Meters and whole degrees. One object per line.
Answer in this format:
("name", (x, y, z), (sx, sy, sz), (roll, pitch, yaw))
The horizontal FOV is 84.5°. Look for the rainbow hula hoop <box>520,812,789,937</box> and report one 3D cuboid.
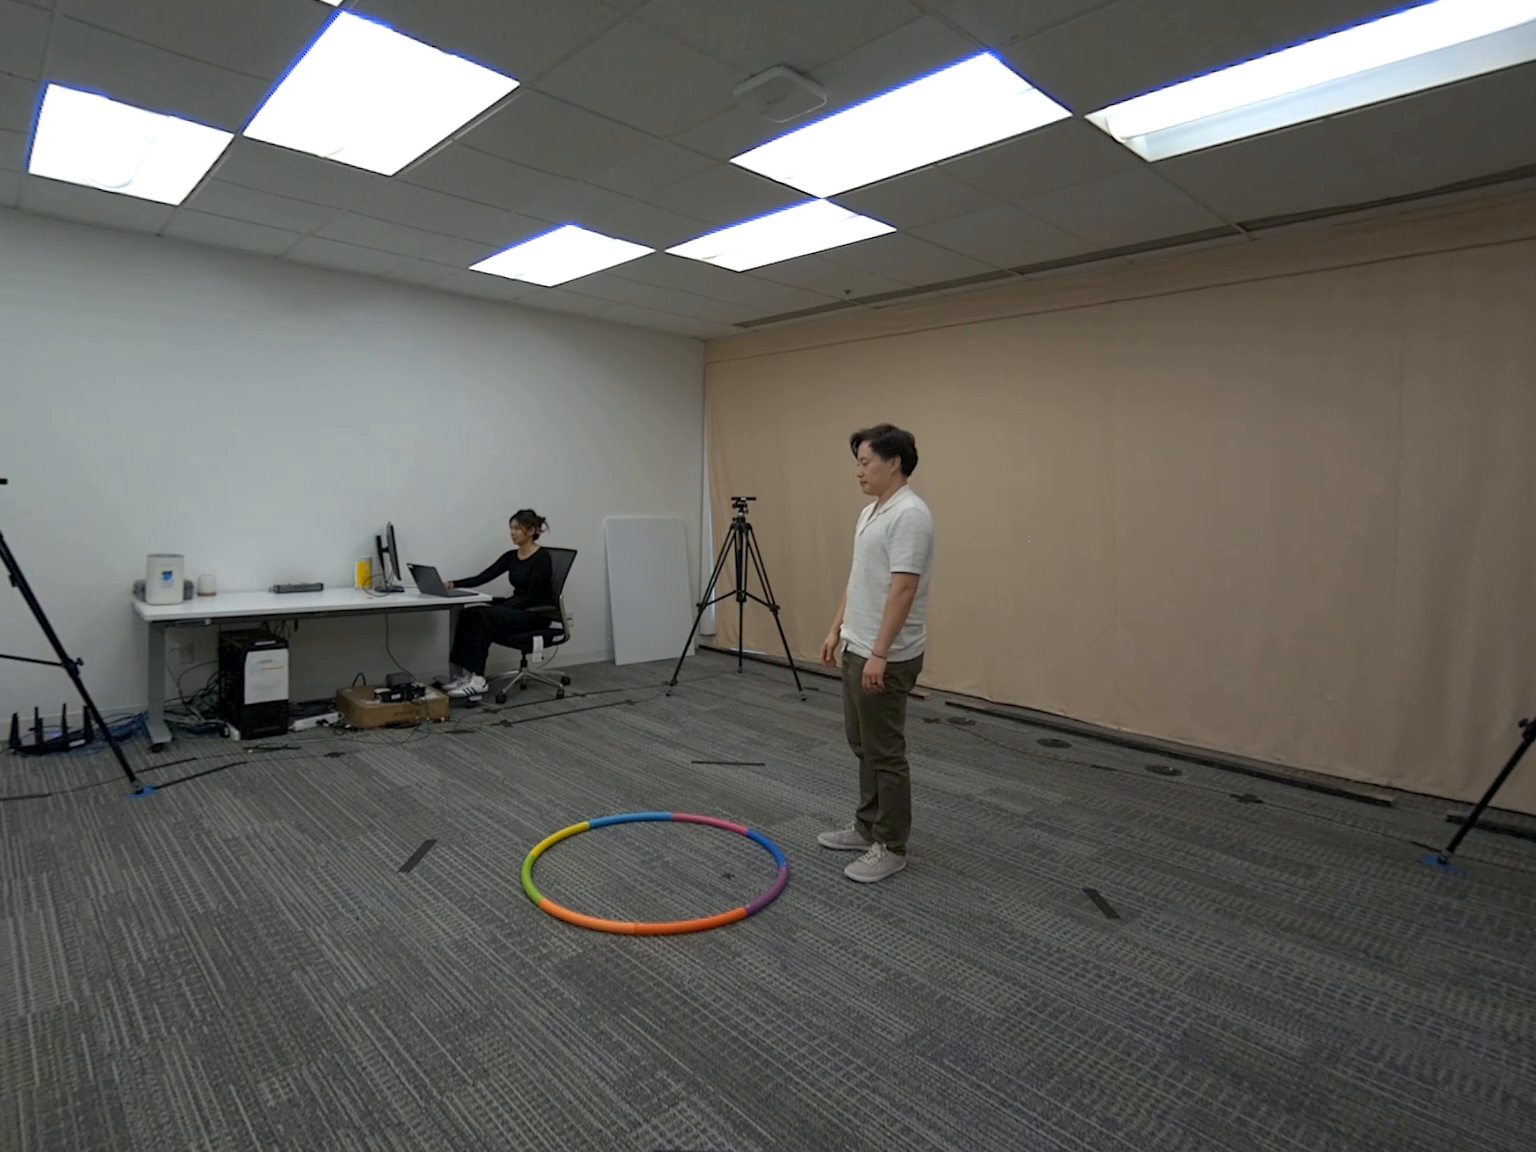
("rainbow hula hoop", (-0.419, 1.064, 3.149), (0.978, 0.035, 0.982), (2, 5, -1))
